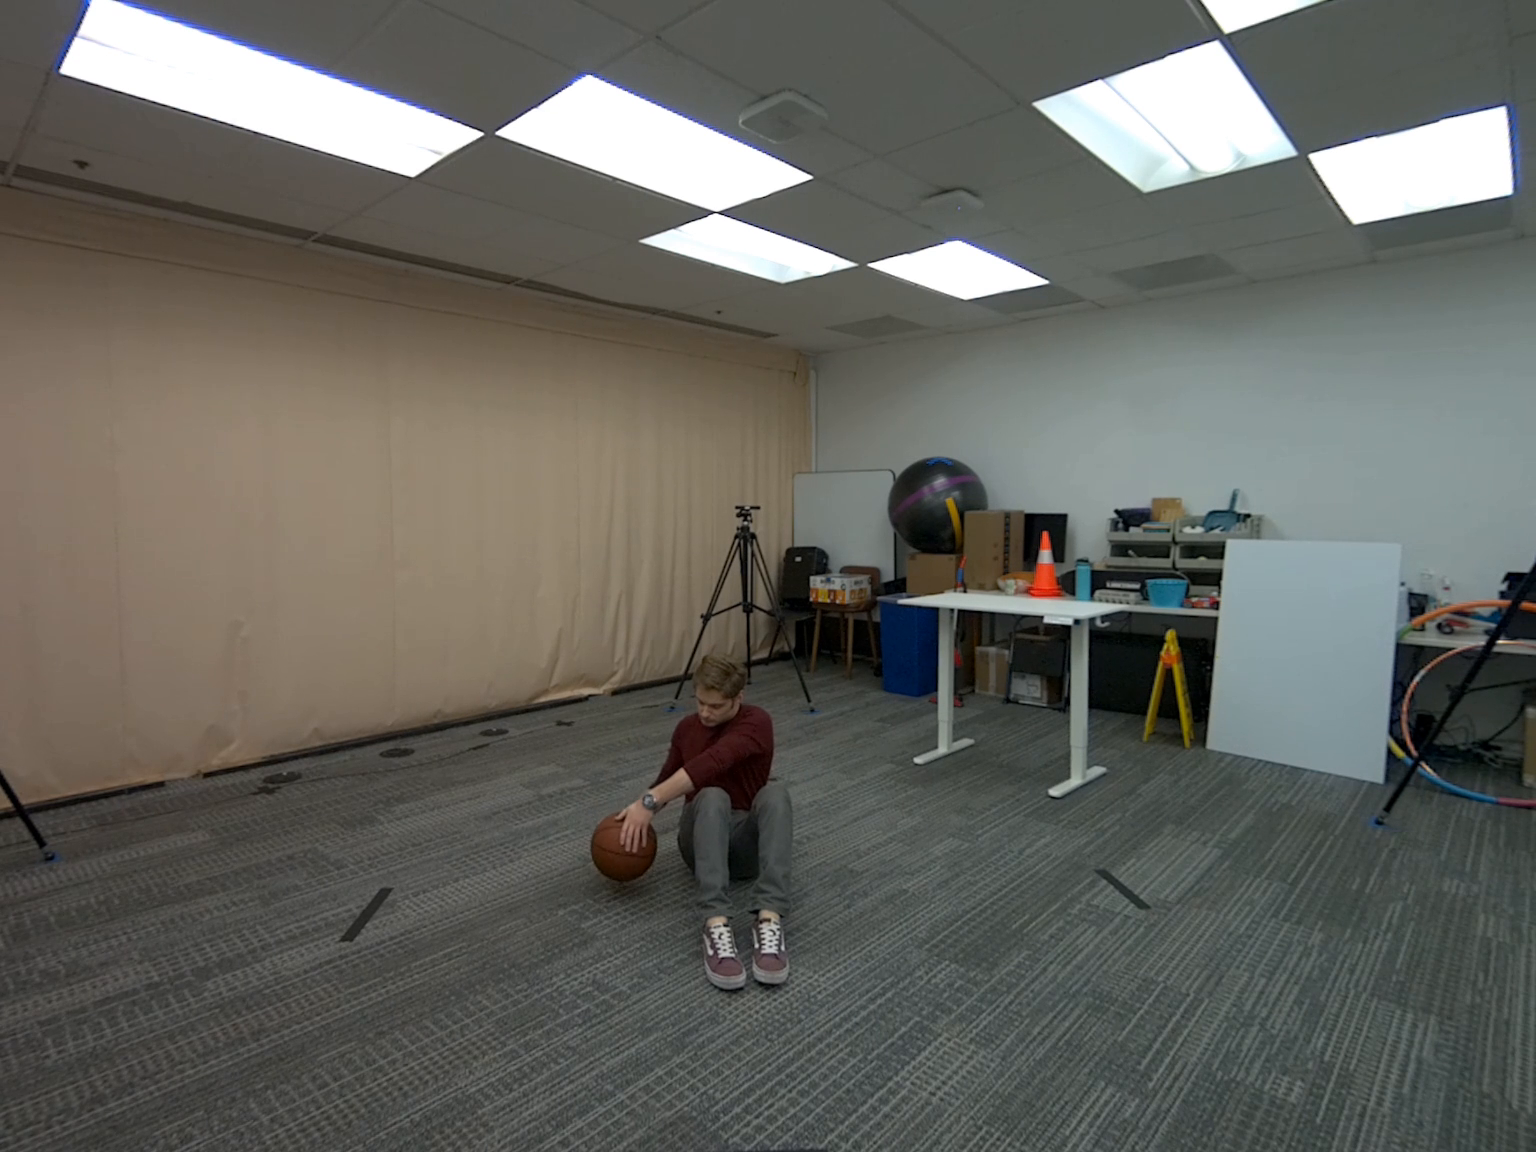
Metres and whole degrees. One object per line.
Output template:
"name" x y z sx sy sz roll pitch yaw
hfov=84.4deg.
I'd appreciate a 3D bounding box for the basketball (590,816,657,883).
"basketball" -0.515 0.954 3.009 0.236 0.235 0.237 0 4 -2
